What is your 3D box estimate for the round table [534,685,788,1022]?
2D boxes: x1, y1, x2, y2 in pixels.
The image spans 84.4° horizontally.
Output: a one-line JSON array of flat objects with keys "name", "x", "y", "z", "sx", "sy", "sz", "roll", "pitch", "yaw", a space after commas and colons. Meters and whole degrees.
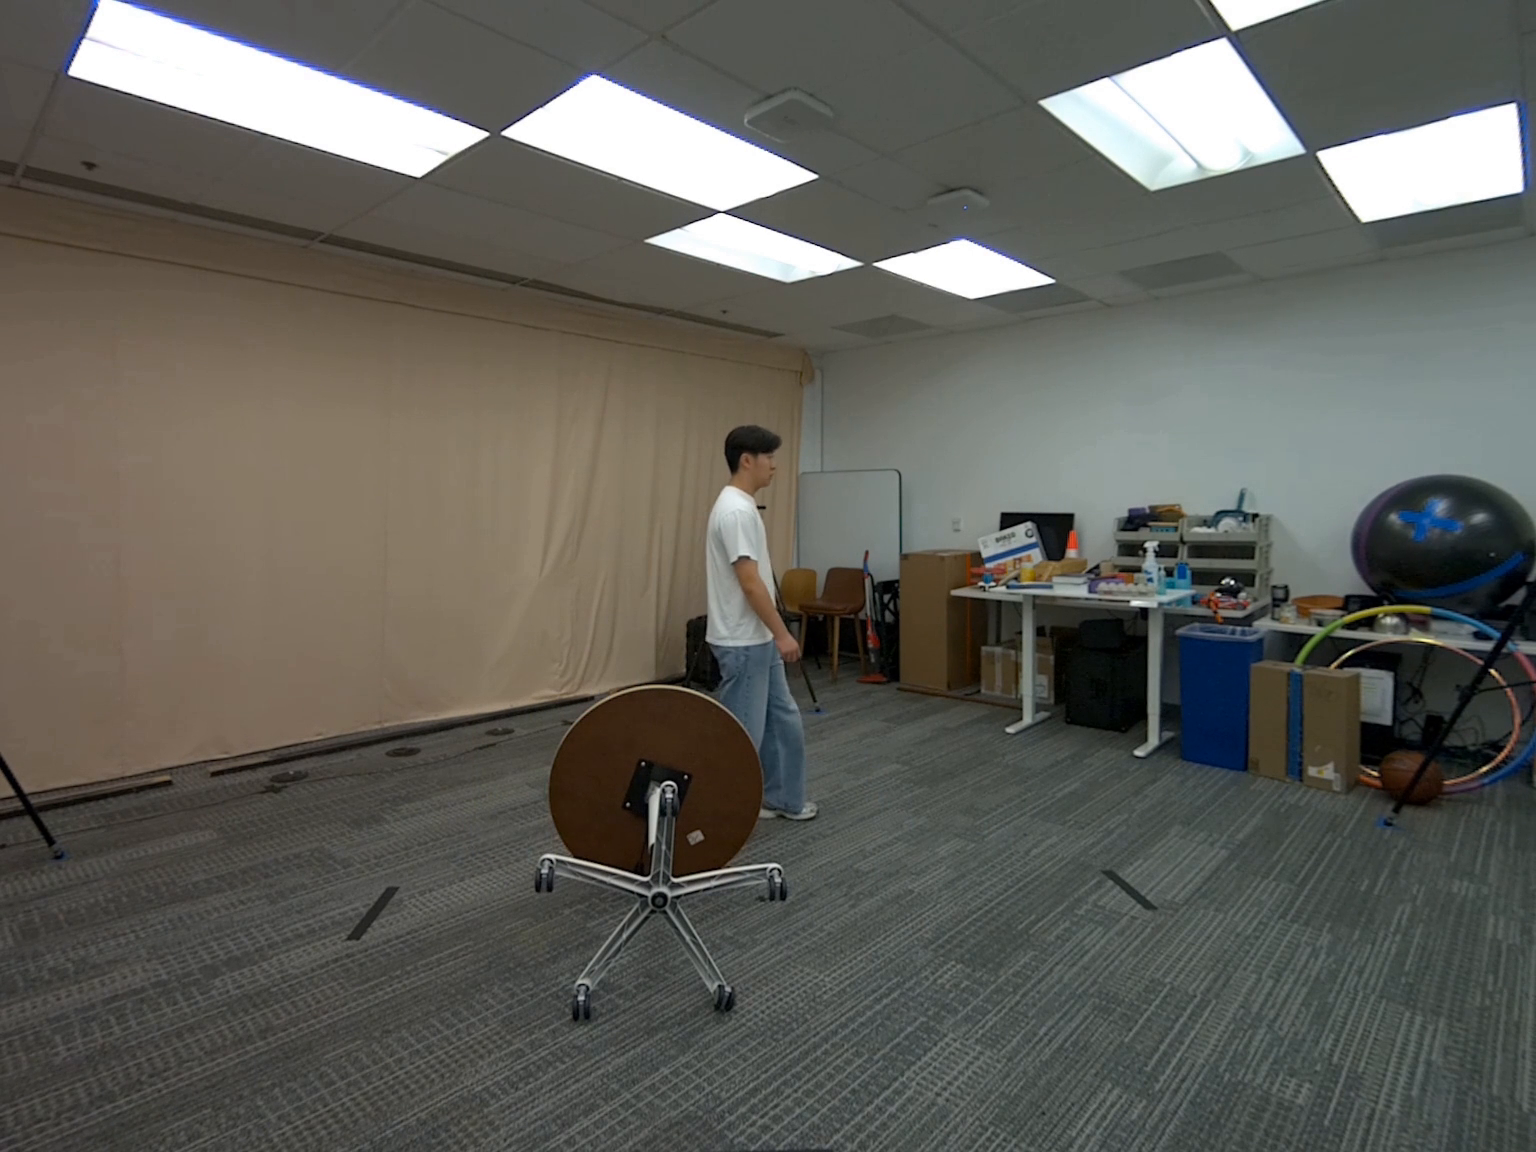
[{"name": "round table", "x": -0.342, "y": 0.827, "z": 2.633, "sx": 0.779, "sy": 0.781, "sz": 0.797, "roll": -1, "pitch": 9, "yaw": -8}]
